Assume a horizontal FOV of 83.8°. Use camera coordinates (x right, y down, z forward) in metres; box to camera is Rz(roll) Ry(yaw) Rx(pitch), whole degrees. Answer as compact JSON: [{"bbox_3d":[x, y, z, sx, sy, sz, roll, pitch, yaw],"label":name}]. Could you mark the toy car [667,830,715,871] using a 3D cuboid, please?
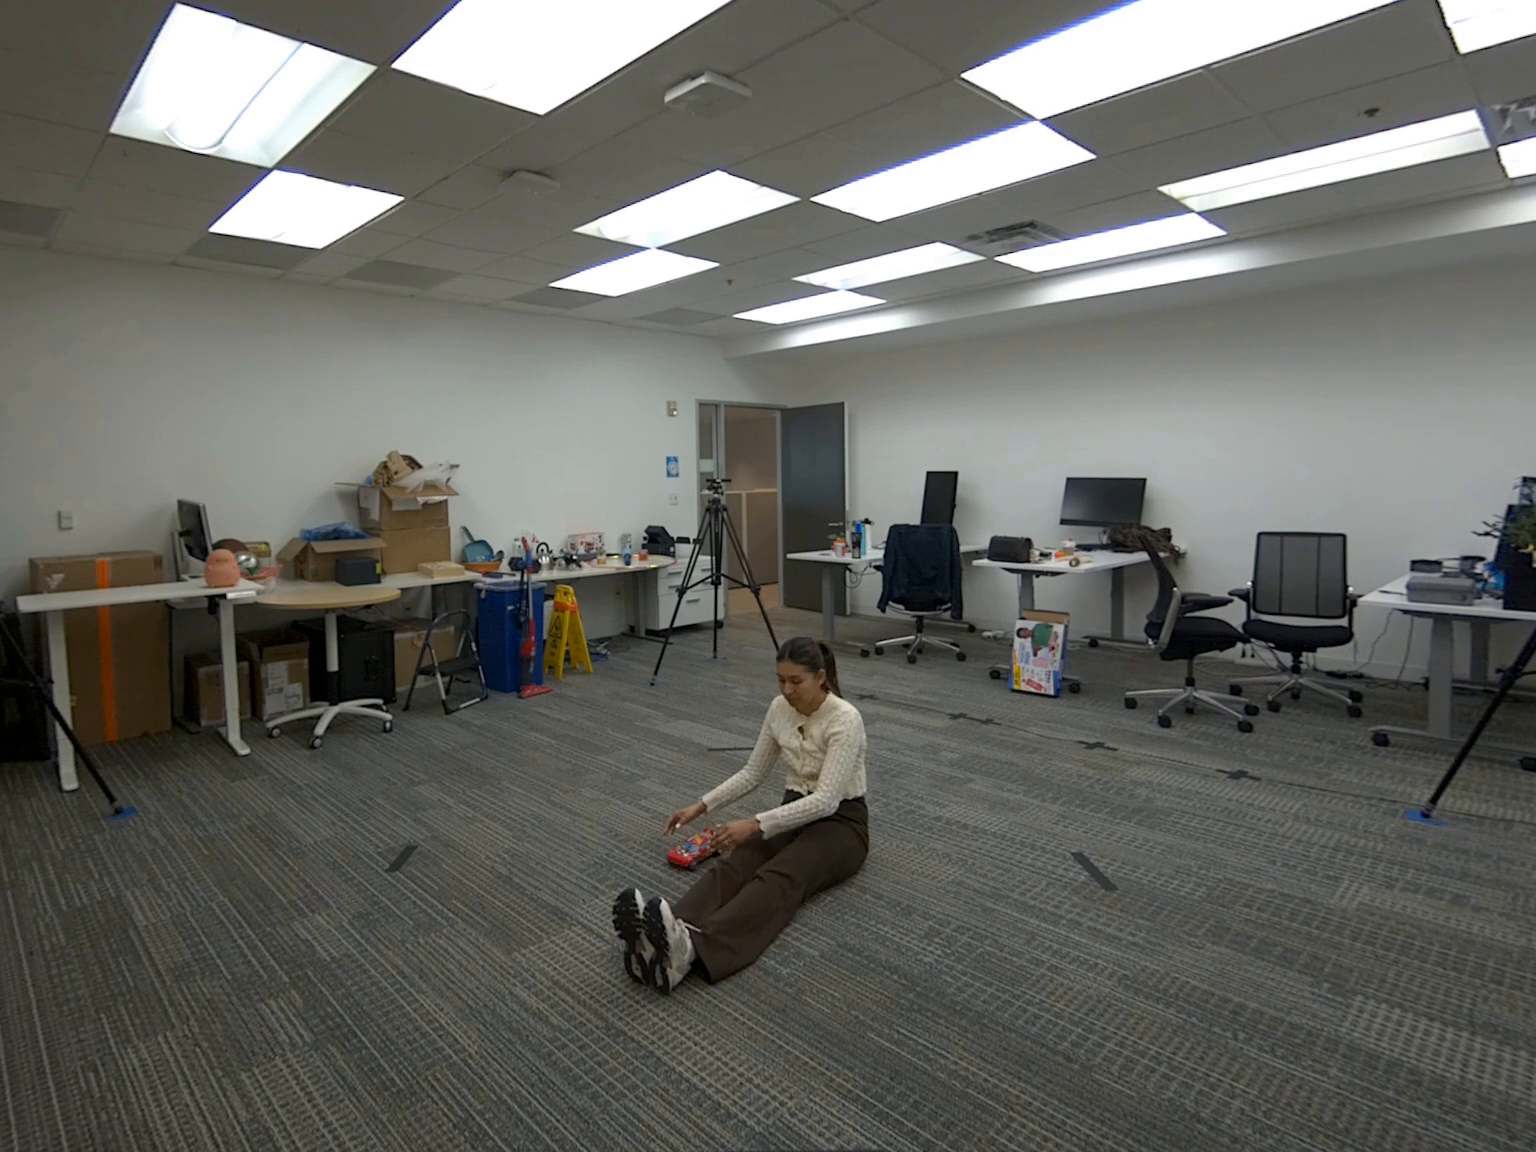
[{"bbox_3d":[-0.252,1.007,3.164,0.134,0.082,0.250,2,17,37],"label":"toy car"}]
